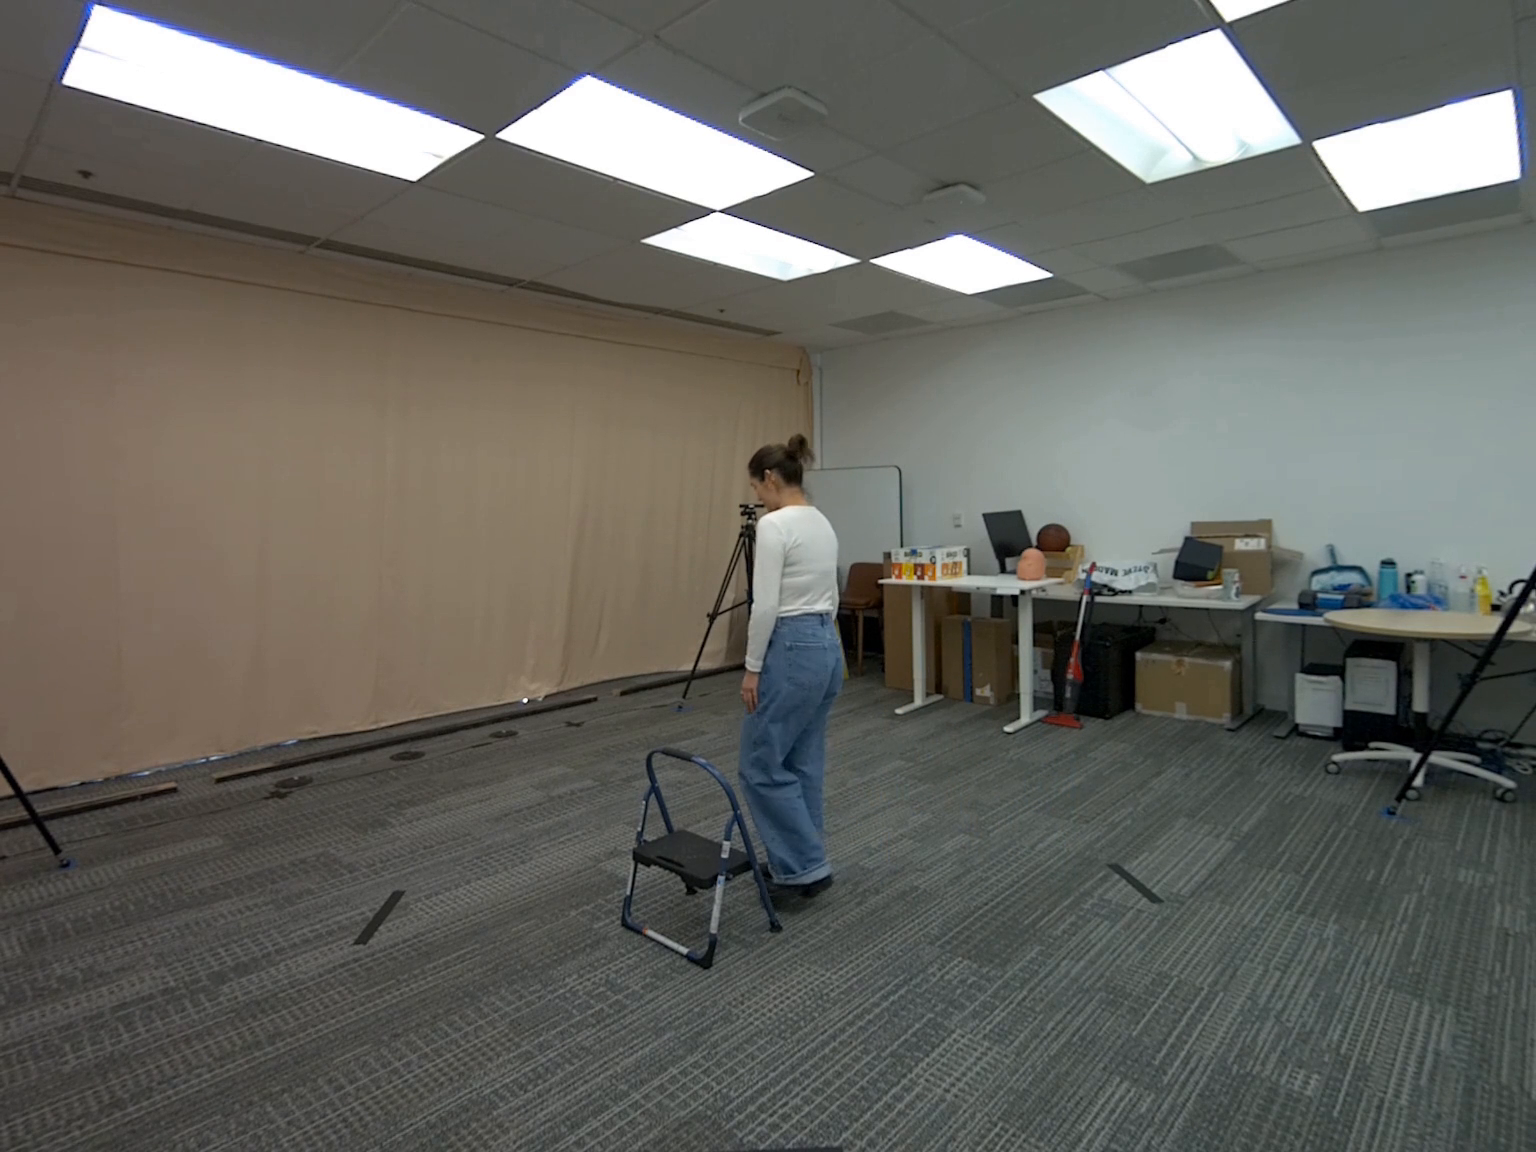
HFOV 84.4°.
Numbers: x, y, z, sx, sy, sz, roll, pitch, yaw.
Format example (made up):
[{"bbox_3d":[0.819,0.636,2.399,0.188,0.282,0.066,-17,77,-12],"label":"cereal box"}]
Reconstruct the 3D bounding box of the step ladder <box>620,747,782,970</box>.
[{"bbox_3d":[-0.228,0.857,2.769,0.445,0.605,0.338,2,4,42],"label":"step ladder"}]
